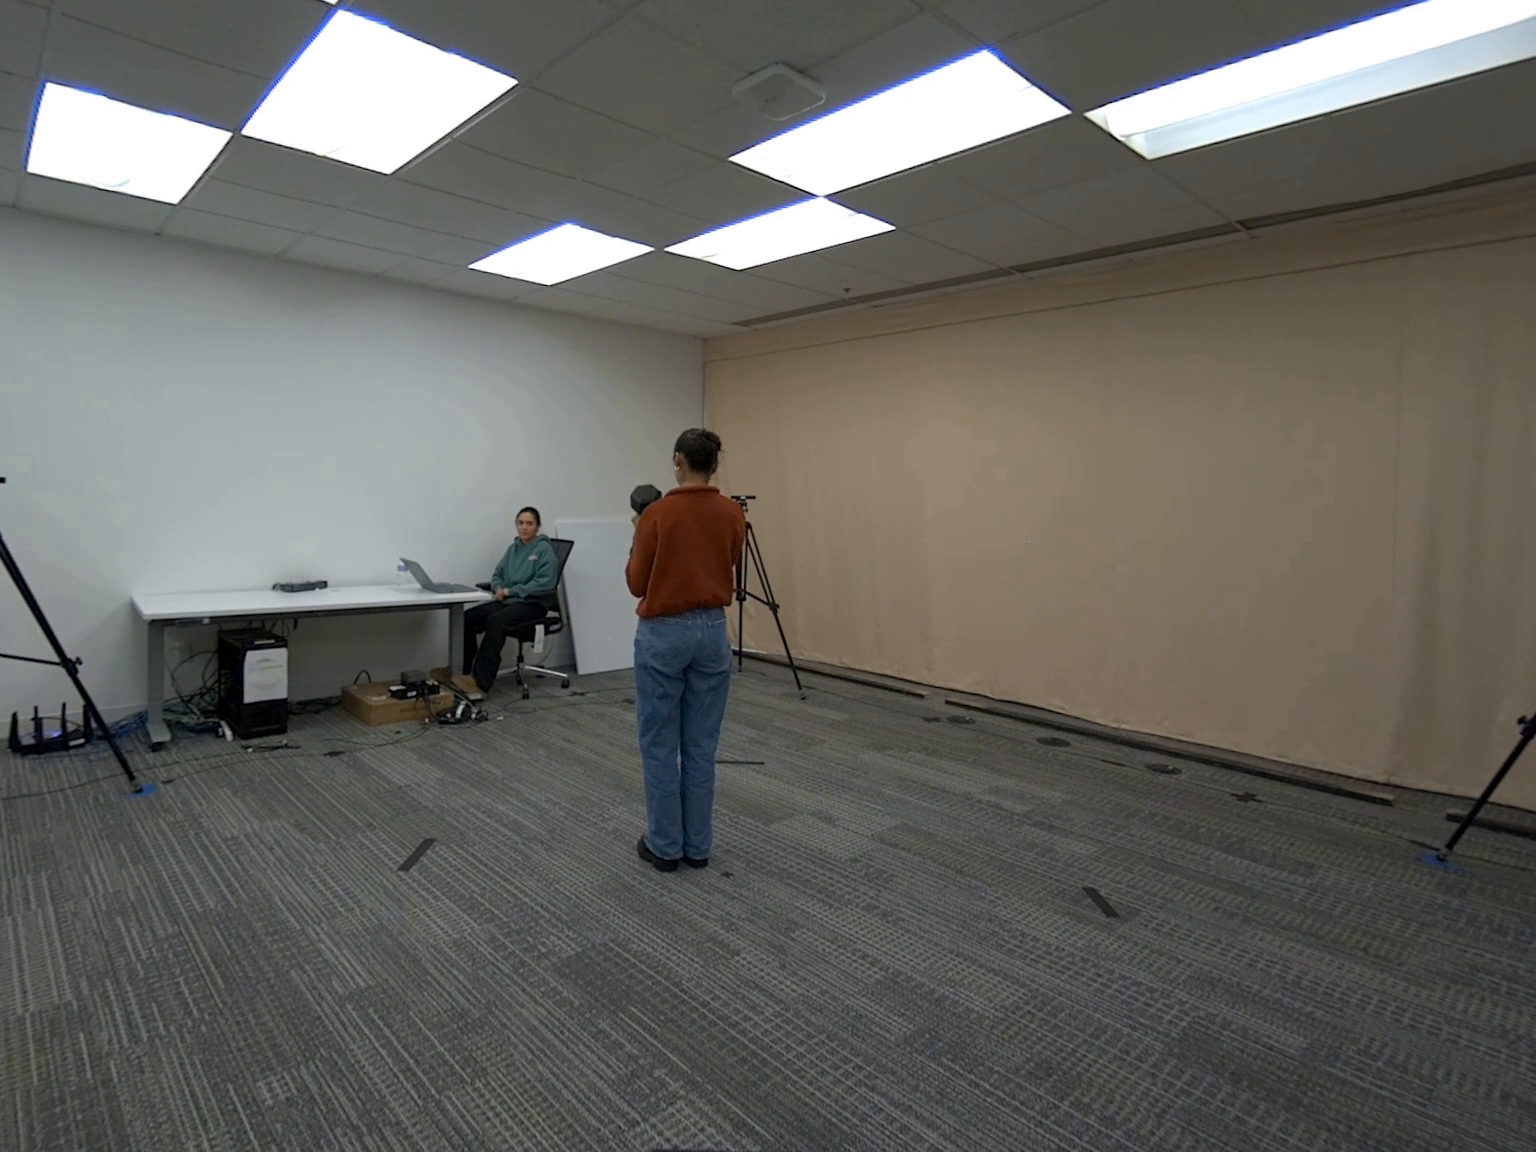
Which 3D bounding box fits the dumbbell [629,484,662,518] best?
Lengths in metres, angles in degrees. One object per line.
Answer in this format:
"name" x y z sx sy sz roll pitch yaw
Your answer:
"dumbbell" -0.471 -0.211 3.297 0.110 0.287 0.124 16 46 11
